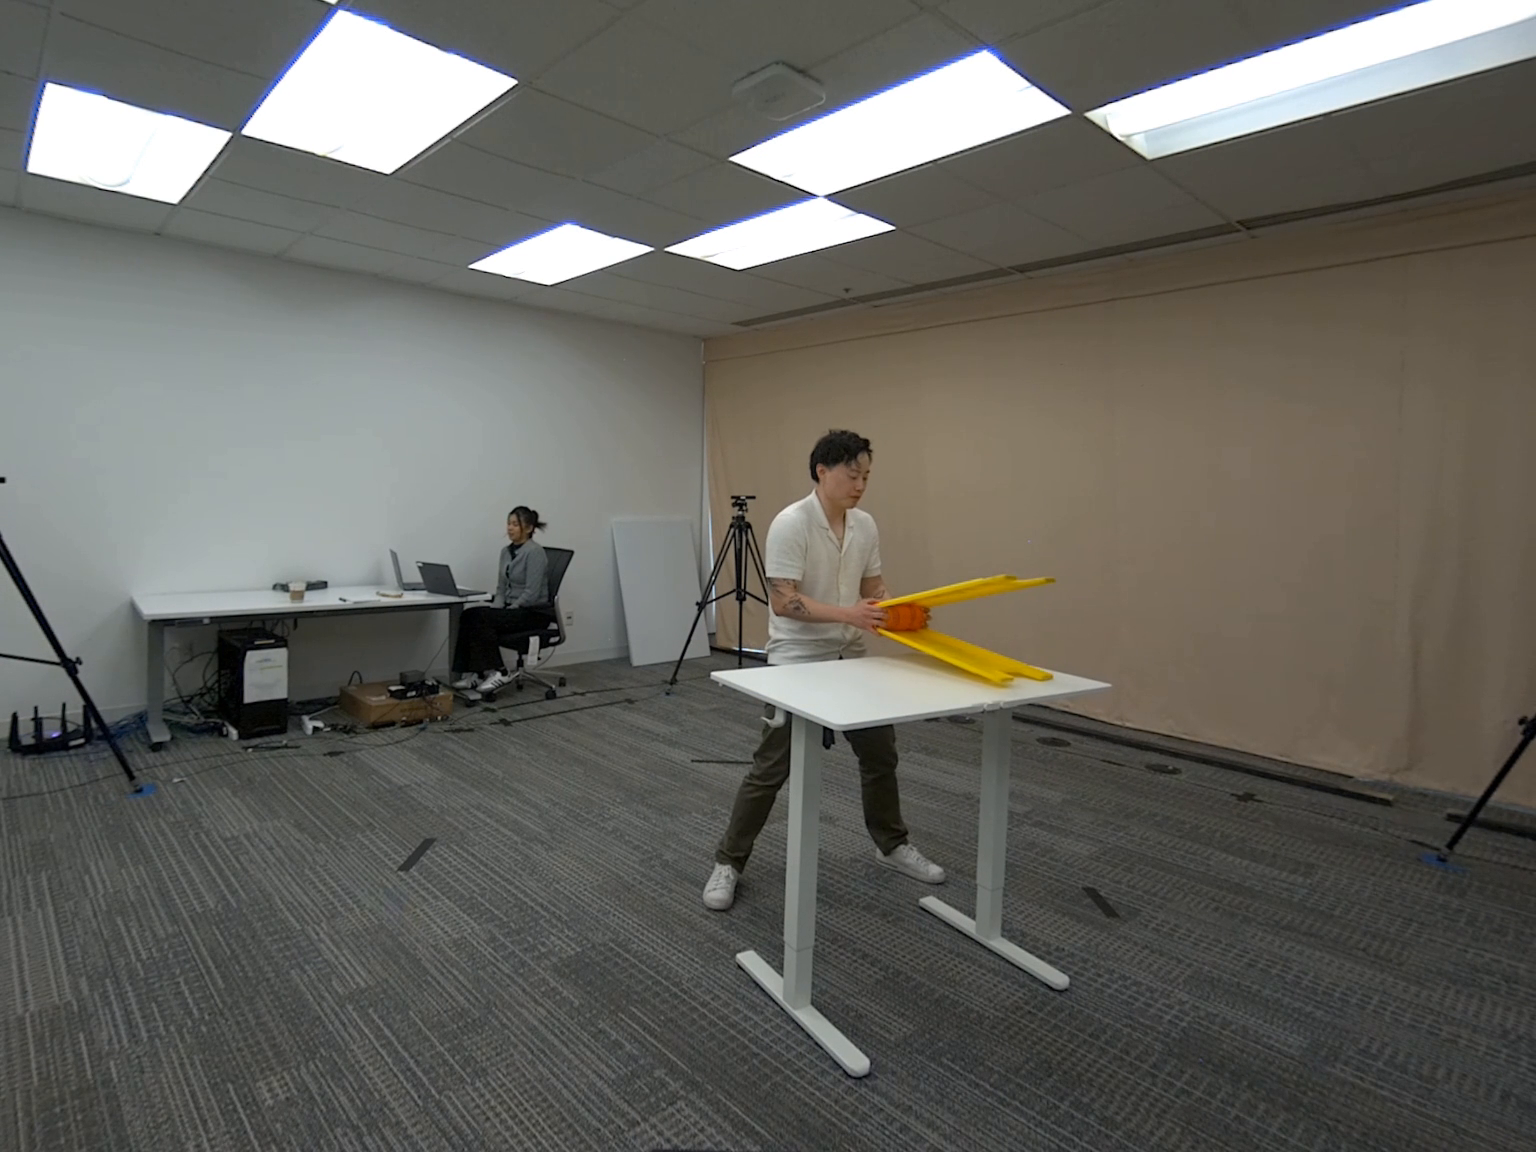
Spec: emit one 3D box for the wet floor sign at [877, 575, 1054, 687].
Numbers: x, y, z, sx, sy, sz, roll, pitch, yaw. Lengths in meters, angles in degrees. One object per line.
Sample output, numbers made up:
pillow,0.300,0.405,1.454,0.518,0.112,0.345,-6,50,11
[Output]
wet floor sign,0.528,0.143,2.654,0.275,0.290,0.661,4,0,-39
